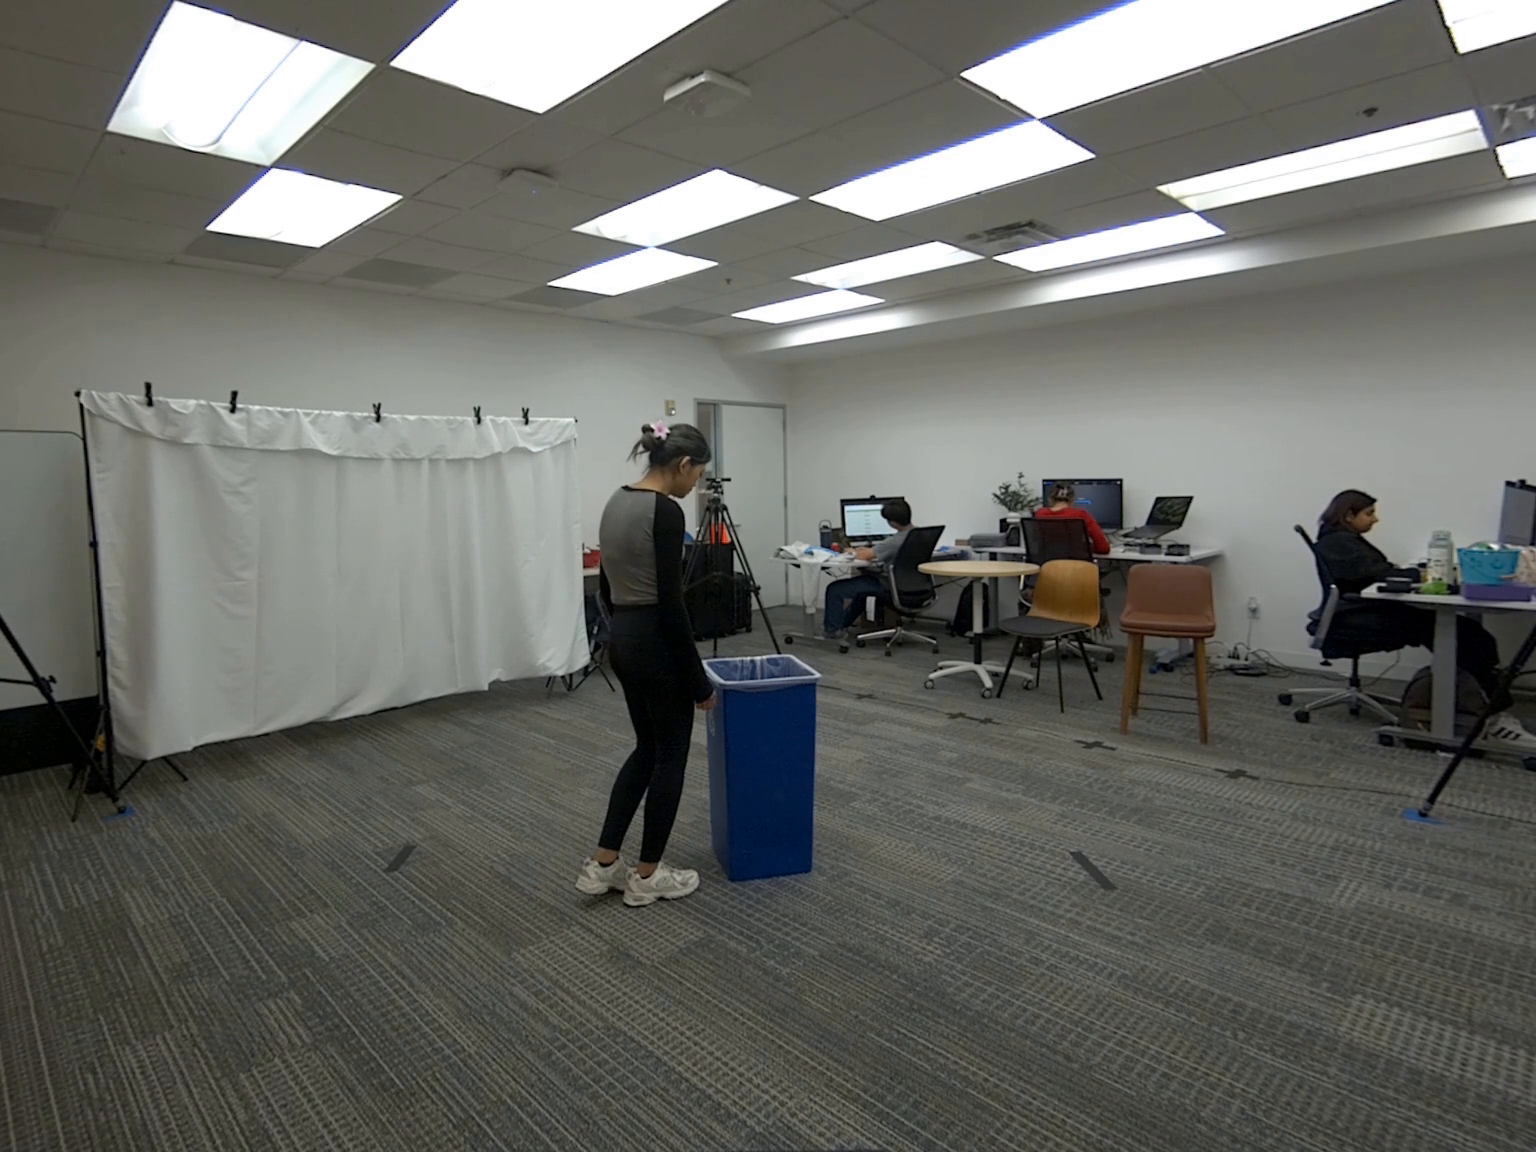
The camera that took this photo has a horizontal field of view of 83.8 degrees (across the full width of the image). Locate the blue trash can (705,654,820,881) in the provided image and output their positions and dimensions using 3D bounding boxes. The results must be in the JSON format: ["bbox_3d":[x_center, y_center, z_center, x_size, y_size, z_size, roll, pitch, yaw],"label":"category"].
[{"bbox_3d":[-0.035,0.684,3.107,0.369,0.711,0.385,-2,5,-16],"label":"blue trash can"}]
